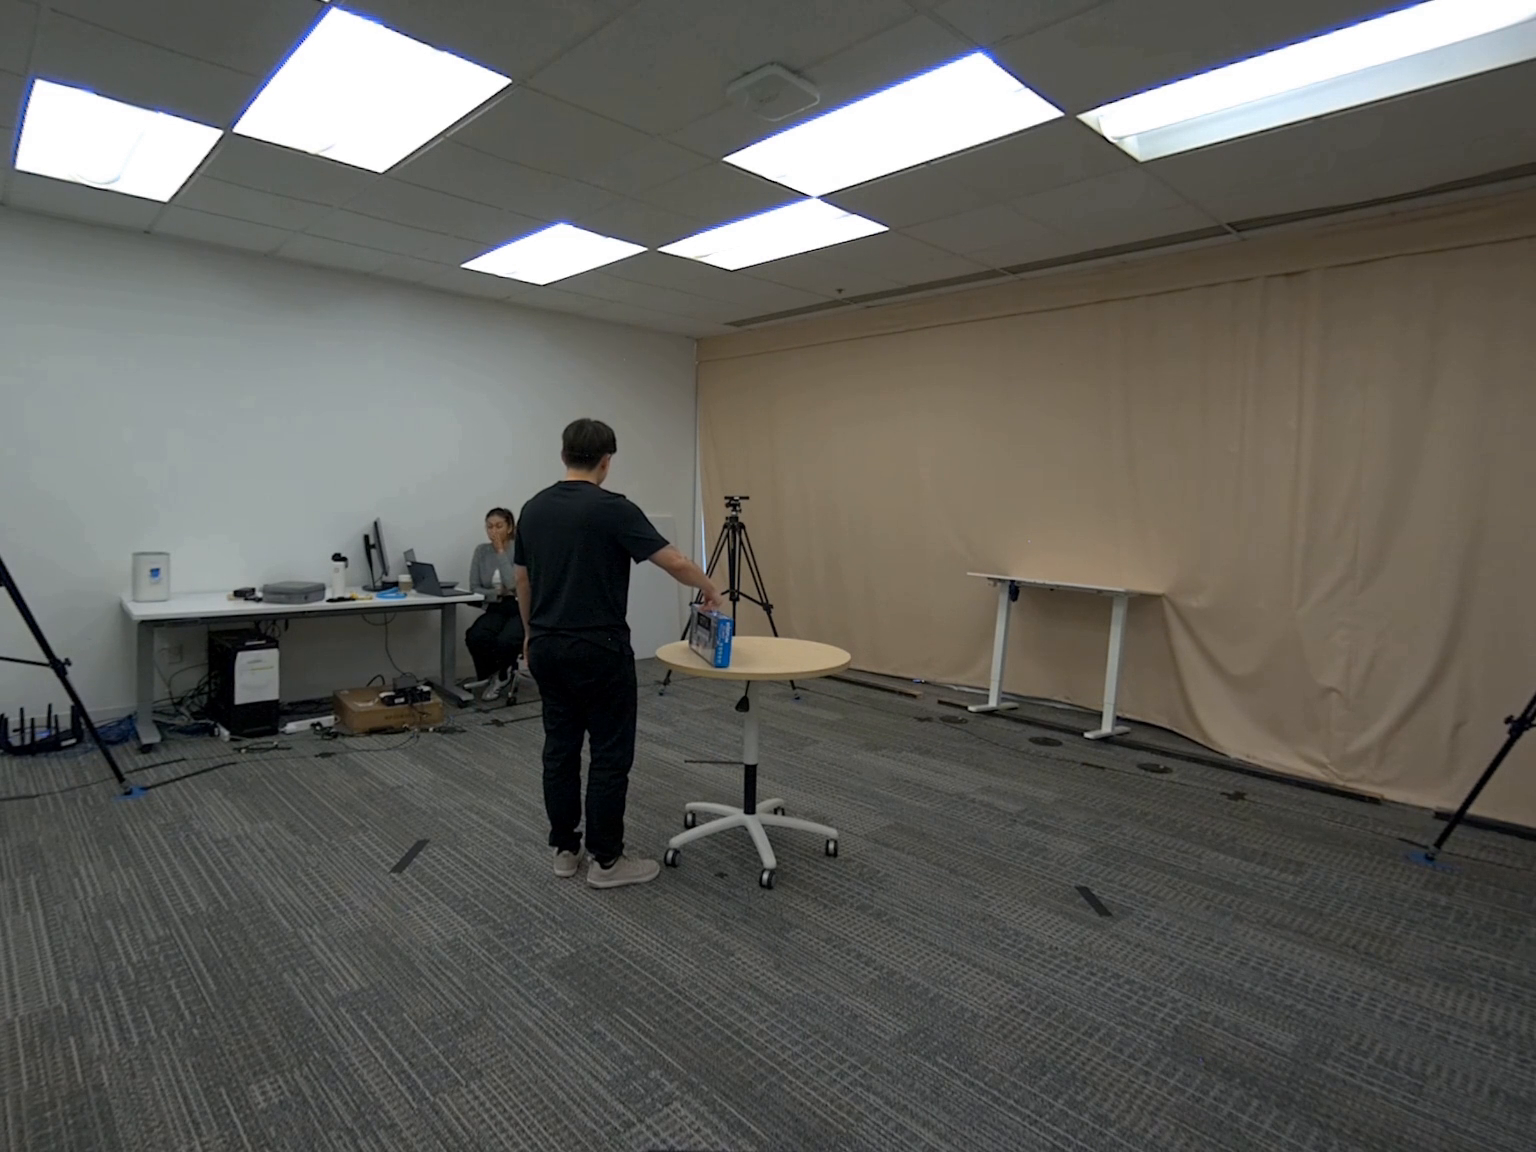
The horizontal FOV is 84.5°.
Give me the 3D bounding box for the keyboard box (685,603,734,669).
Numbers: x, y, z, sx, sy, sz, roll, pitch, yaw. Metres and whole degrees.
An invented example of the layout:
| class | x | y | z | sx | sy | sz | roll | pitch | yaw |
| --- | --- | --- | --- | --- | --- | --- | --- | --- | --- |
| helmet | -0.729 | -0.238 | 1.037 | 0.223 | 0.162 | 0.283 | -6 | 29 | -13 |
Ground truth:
| class | x | y | z | sx | sy | sz | roll | pitch | yaw |
| --- | --- | --- | --- | --- | --- | --- | --- | --- | --- |
| keyboard box | -0.228 | 0.221 | 3.209 | 0.058 | 0.176 | 0.443 | 5 | 3 | -18 |
